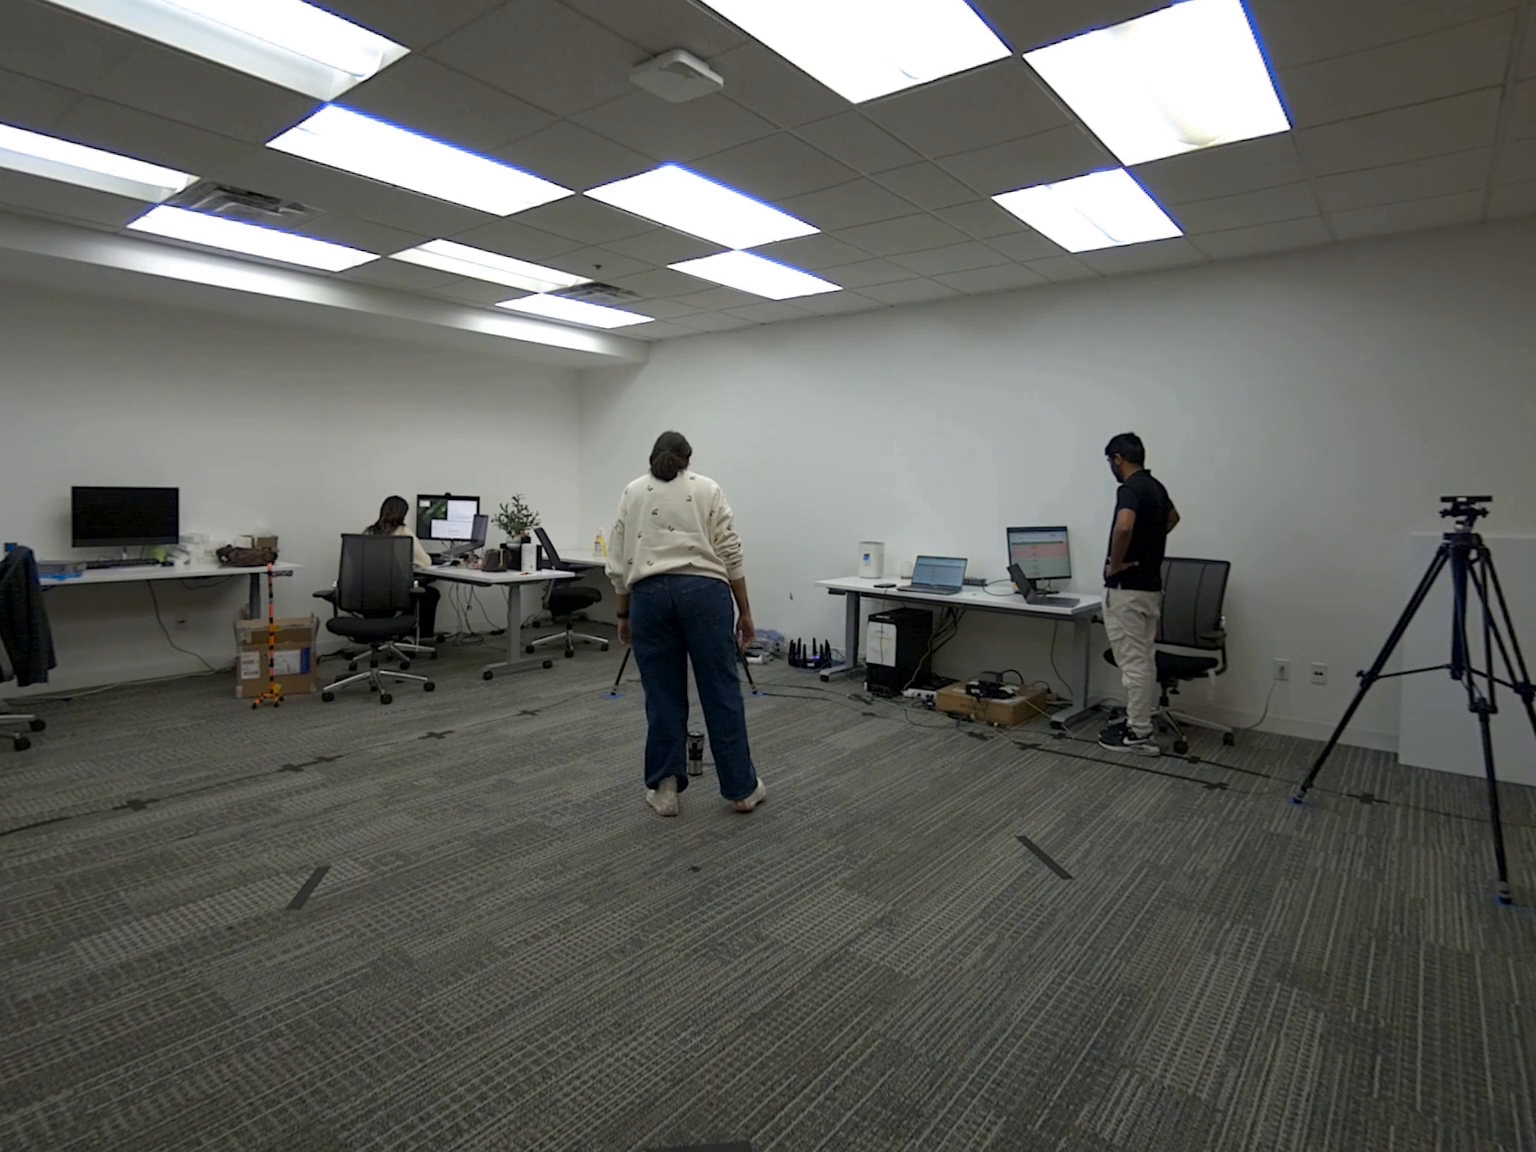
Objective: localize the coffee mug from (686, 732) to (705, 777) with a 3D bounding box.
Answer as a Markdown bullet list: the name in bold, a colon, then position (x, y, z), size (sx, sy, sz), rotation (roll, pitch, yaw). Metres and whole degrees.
- **coffee mug**: position (-0.376, 0.863, 4.130), size (0.091, 0.202, 0.118), rotation (8, 3, 33)
